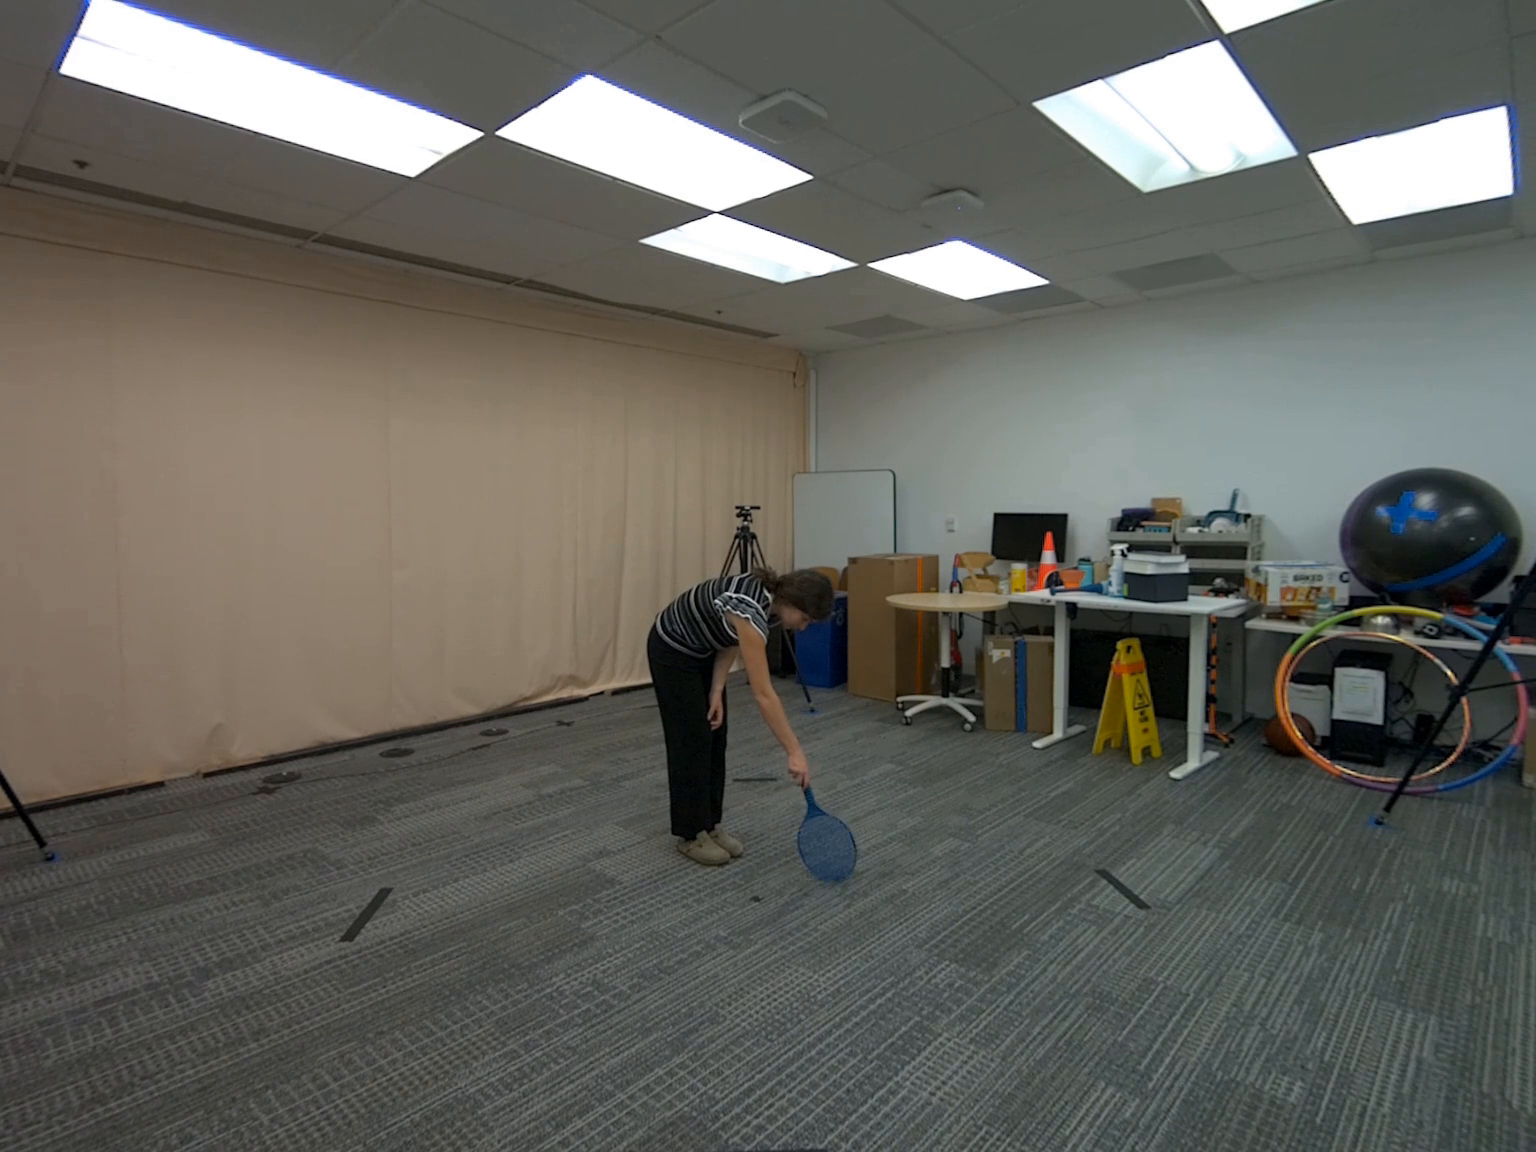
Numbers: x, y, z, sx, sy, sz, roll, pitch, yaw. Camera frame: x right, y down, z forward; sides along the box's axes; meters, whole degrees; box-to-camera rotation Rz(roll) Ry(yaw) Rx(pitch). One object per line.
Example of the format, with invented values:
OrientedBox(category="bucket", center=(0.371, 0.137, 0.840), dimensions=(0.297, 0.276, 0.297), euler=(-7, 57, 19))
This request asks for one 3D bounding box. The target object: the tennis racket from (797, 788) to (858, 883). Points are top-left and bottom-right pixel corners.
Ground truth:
OrientedBox(category="tennis racket", center=(0.182, 0.928, 3.113), dimensions=(0.214, 0.432, 0.032), euler=(-21, 1, 2))
